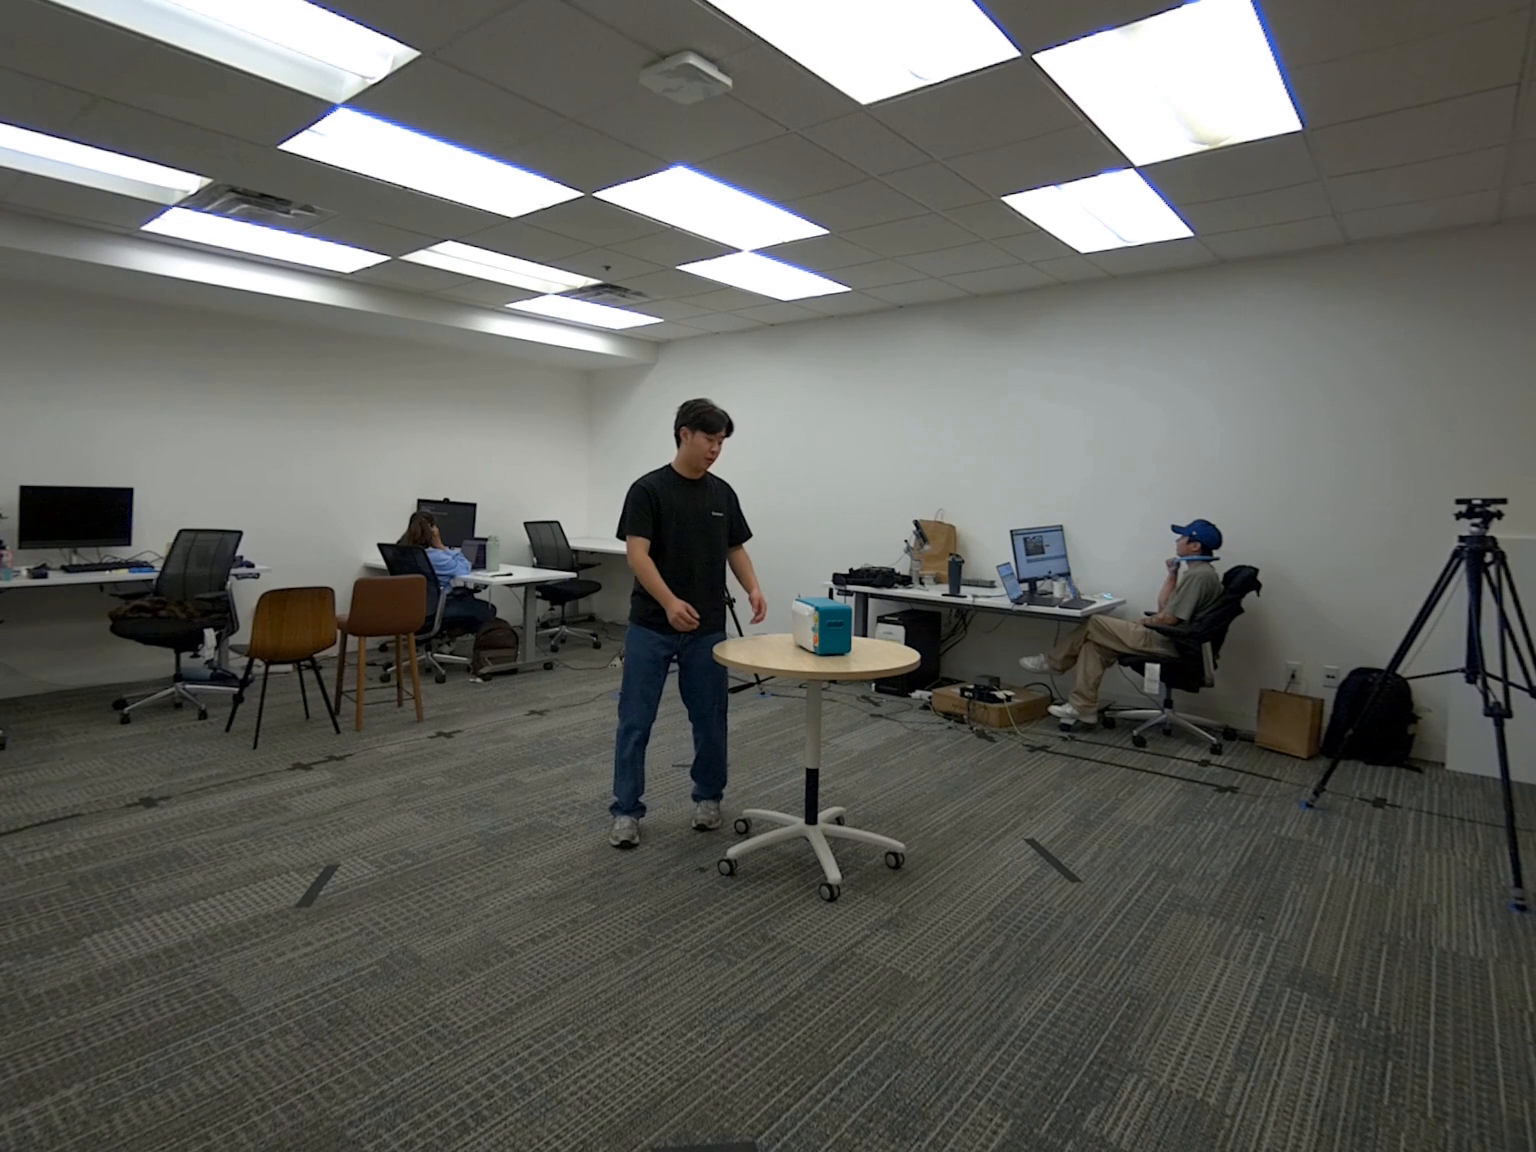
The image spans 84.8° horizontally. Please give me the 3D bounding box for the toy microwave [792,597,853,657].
[{"bbox_3d":[0.185,0.182,3.189,0.150,0.183,0.291,0,5,-14],"label":"toy microwave"}]
